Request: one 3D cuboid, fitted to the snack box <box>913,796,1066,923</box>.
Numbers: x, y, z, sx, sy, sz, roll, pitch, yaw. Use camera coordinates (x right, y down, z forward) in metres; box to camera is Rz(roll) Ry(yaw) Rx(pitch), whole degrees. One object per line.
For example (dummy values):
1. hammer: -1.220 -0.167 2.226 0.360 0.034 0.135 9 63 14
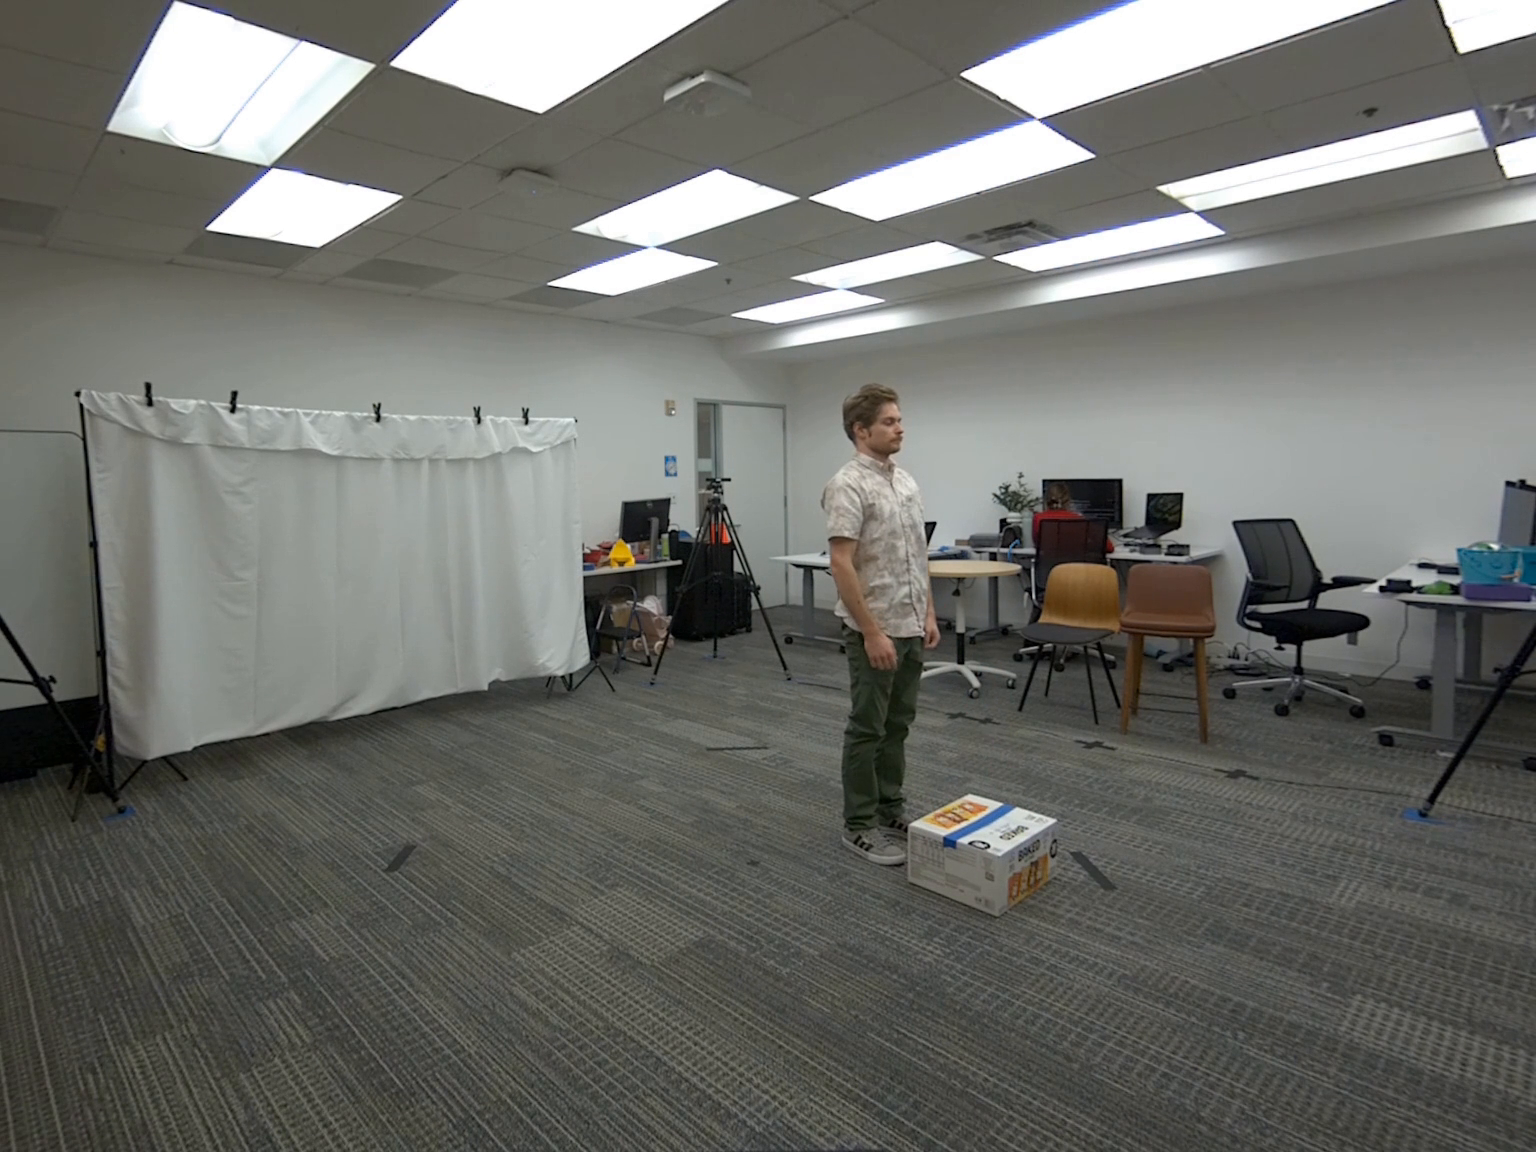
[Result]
1. snack box: 0.757 0.950 2.934 0.394 0.205 0.351 -6 8 -45
